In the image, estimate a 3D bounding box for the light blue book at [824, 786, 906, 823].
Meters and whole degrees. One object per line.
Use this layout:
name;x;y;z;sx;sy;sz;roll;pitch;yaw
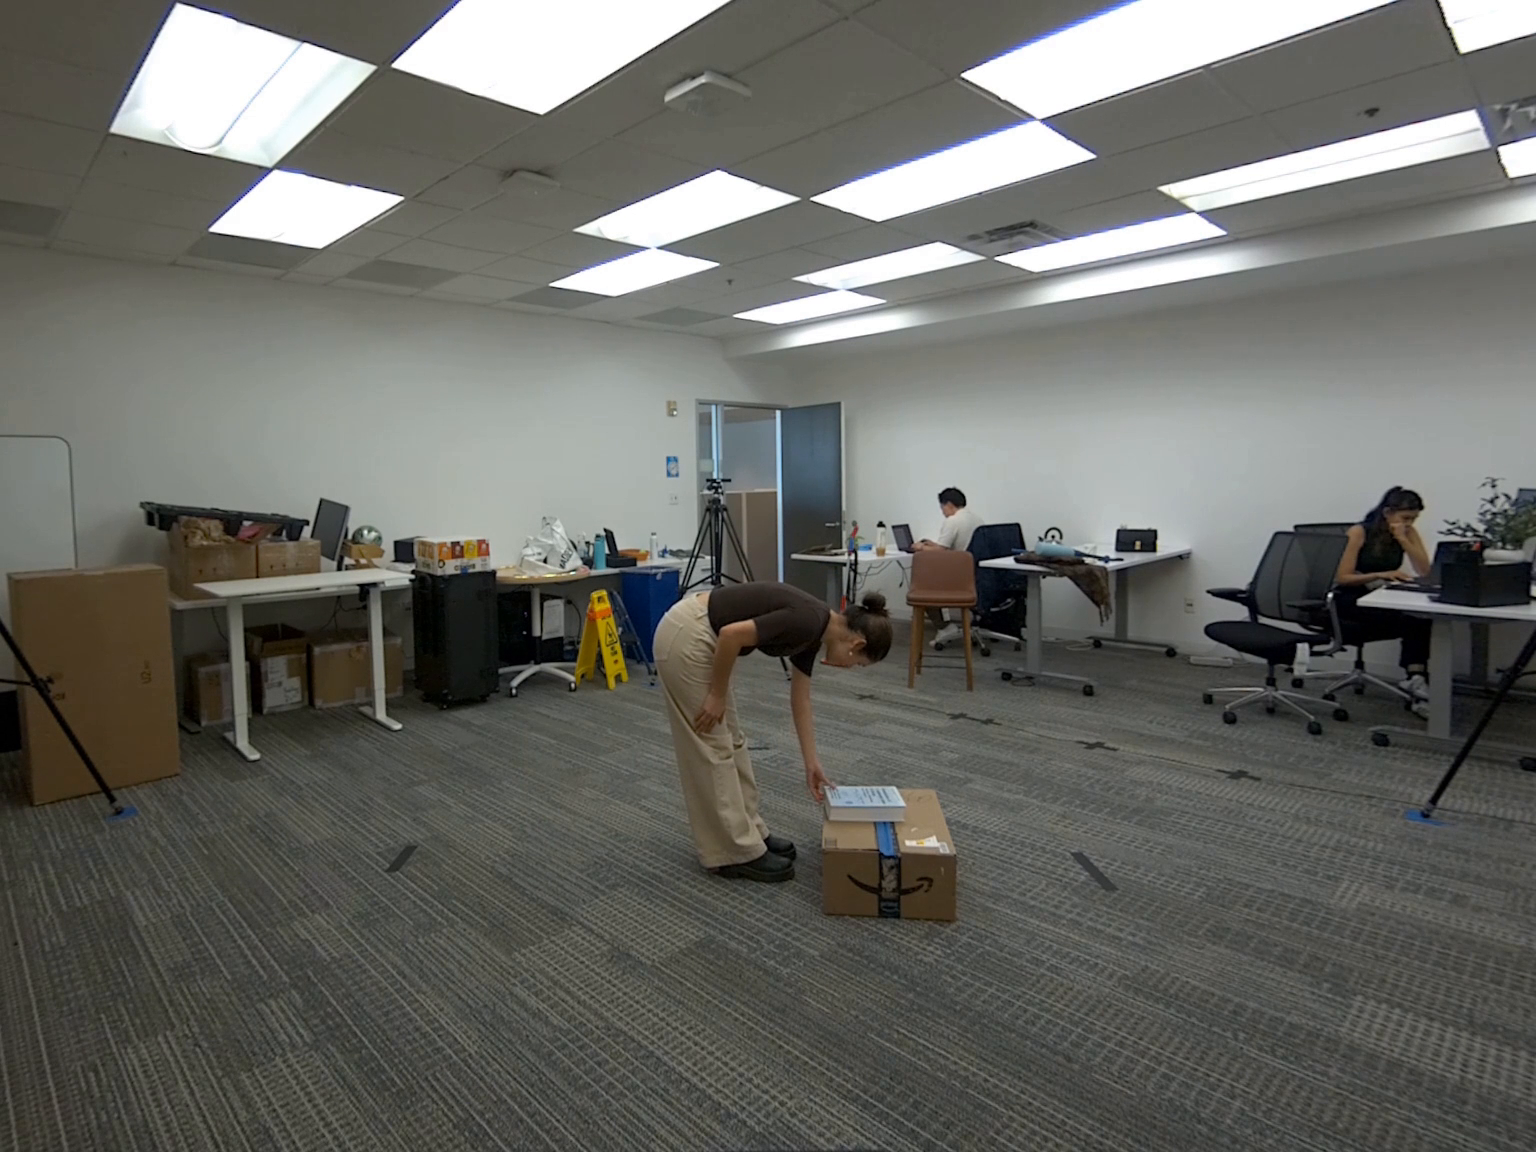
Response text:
light blue book;0.336;0.799;3.029;0.261;0.059;0.192;0;7;0
